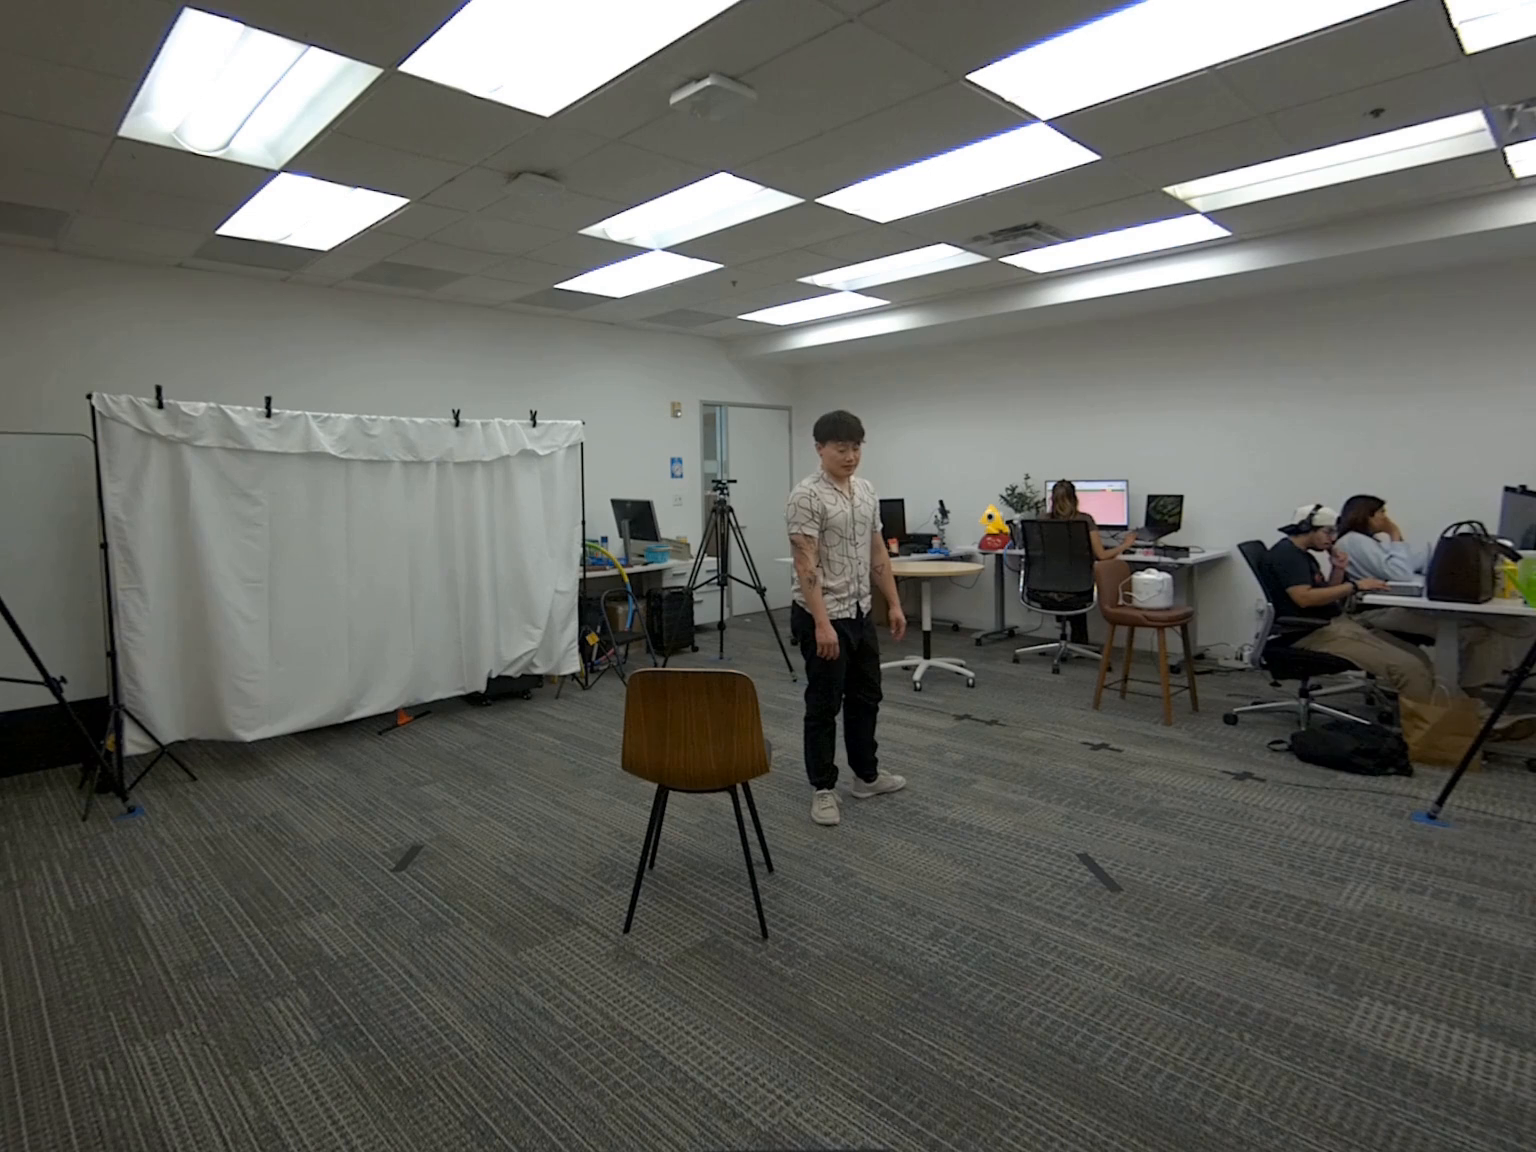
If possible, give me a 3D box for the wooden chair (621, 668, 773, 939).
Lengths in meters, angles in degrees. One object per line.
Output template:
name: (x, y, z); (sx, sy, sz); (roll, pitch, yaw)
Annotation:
wooden chair: (-0.224, 0.654, 2.822); (0.480, 0.870, 0.525); (-1, 8, 4)
